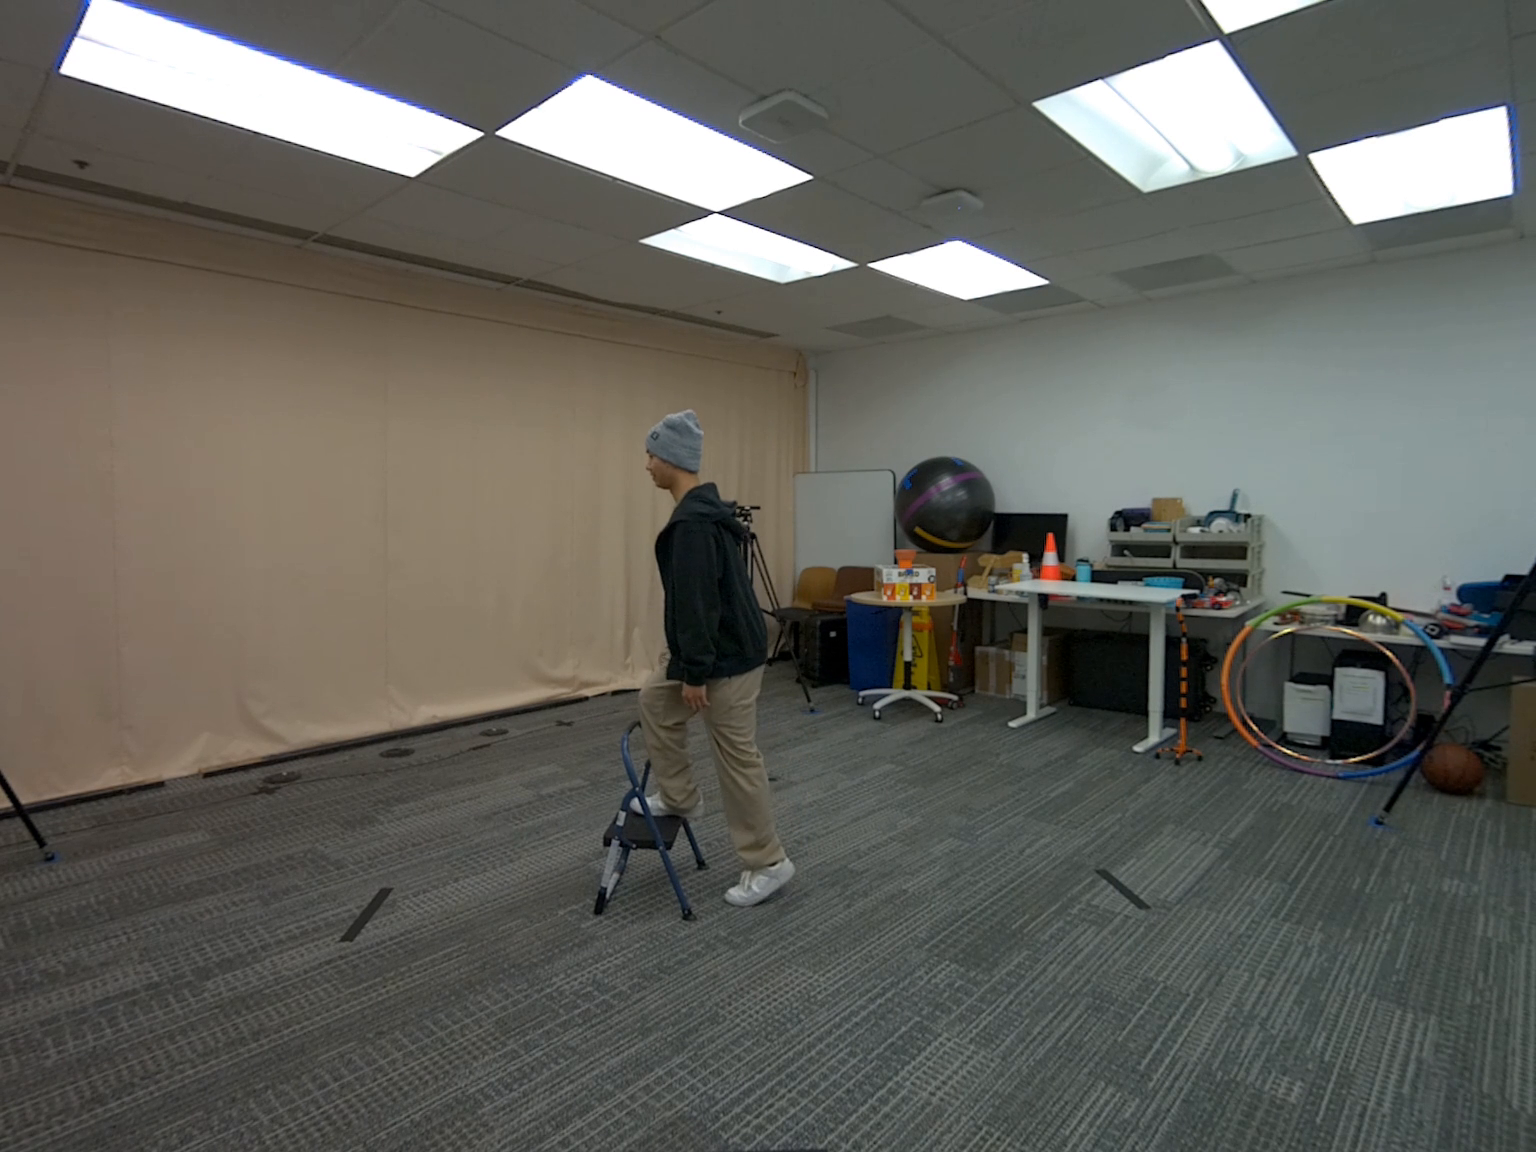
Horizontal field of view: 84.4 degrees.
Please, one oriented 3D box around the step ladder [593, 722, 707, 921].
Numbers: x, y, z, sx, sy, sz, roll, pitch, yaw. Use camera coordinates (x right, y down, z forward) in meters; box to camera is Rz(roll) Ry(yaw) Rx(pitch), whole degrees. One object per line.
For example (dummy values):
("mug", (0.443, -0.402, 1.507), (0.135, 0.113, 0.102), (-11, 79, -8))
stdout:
("step ladder", (-0.418, 0.847, 3.042), (0.351, 0.605, 0.430), (0, 3, 3))
